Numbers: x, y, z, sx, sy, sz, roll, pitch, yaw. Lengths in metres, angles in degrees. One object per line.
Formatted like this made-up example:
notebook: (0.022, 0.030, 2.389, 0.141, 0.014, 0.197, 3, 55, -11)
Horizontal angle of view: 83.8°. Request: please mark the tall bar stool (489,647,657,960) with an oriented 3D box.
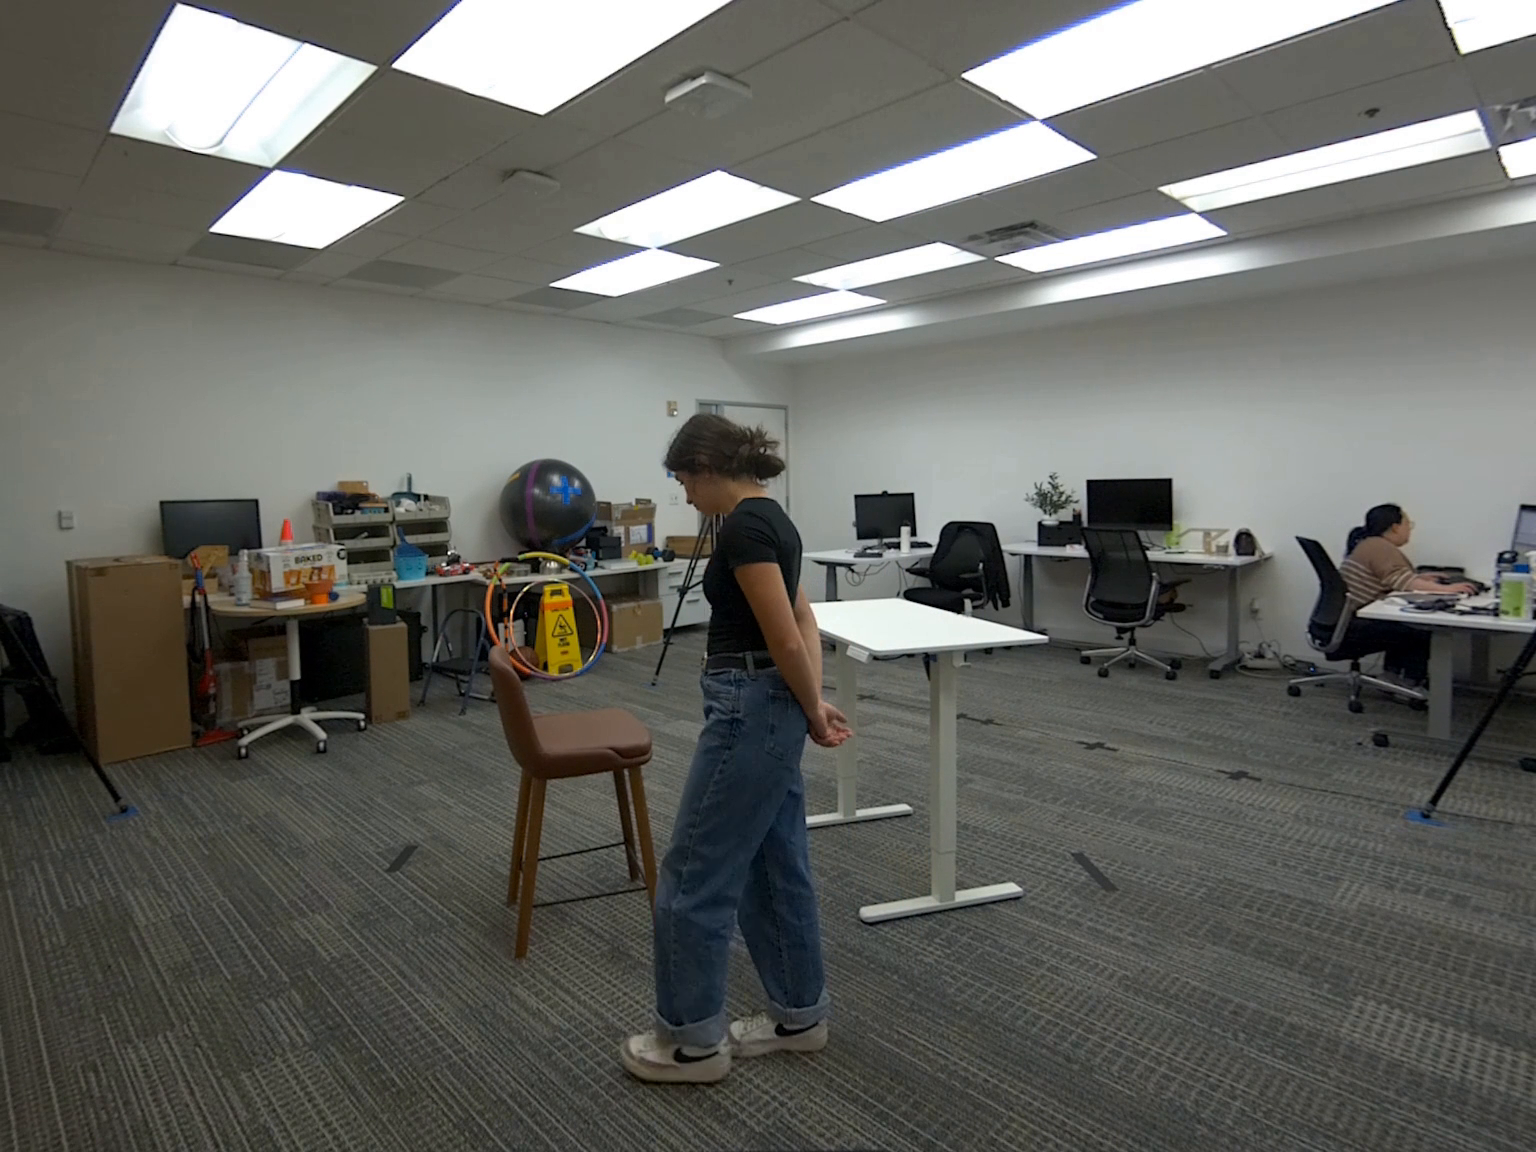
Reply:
tall bar stool: (-0.607, 0.665, 2.723, 0.460, 0.886, 0.466, -4, 5, -20)
